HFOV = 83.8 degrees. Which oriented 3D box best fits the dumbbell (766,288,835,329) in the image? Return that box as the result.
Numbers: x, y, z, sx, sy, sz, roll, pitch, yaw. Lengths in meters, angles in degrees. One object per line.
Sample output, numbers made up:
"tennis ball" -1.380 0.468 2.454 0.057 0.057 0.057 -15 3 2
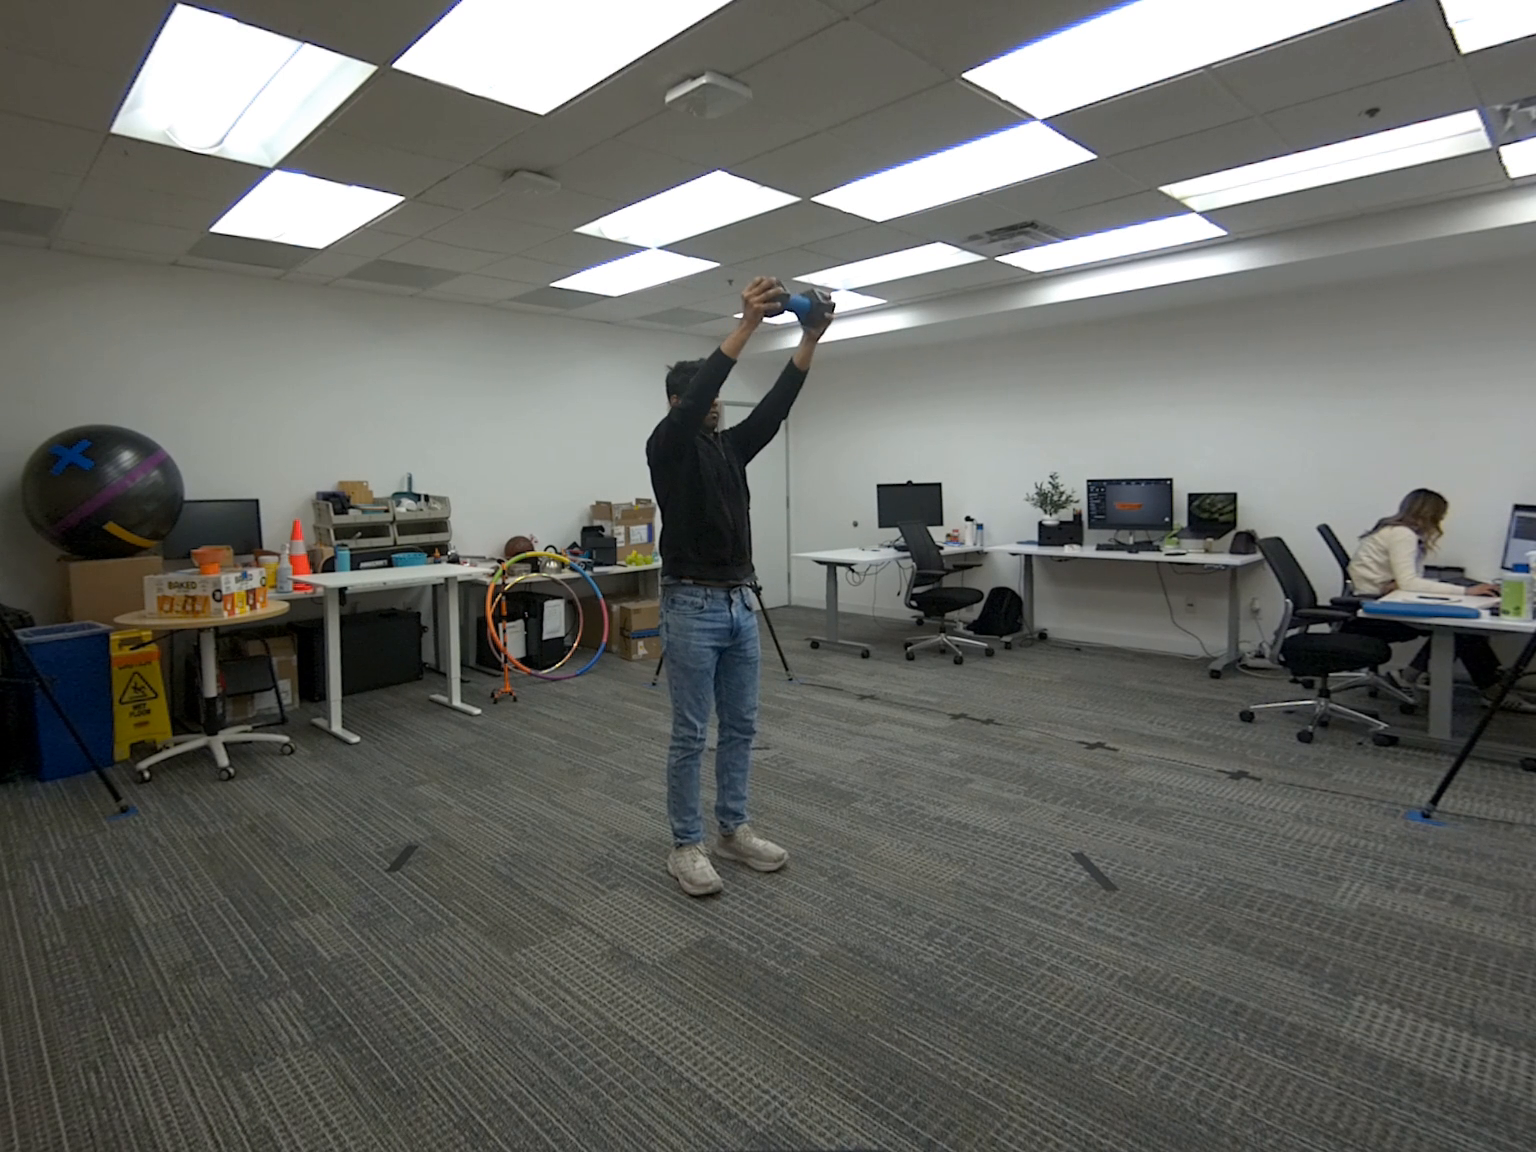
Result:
"dumbbell" 0.079 -0.879 2.754 0.285 0.126 0.108 -4 -34 -43
